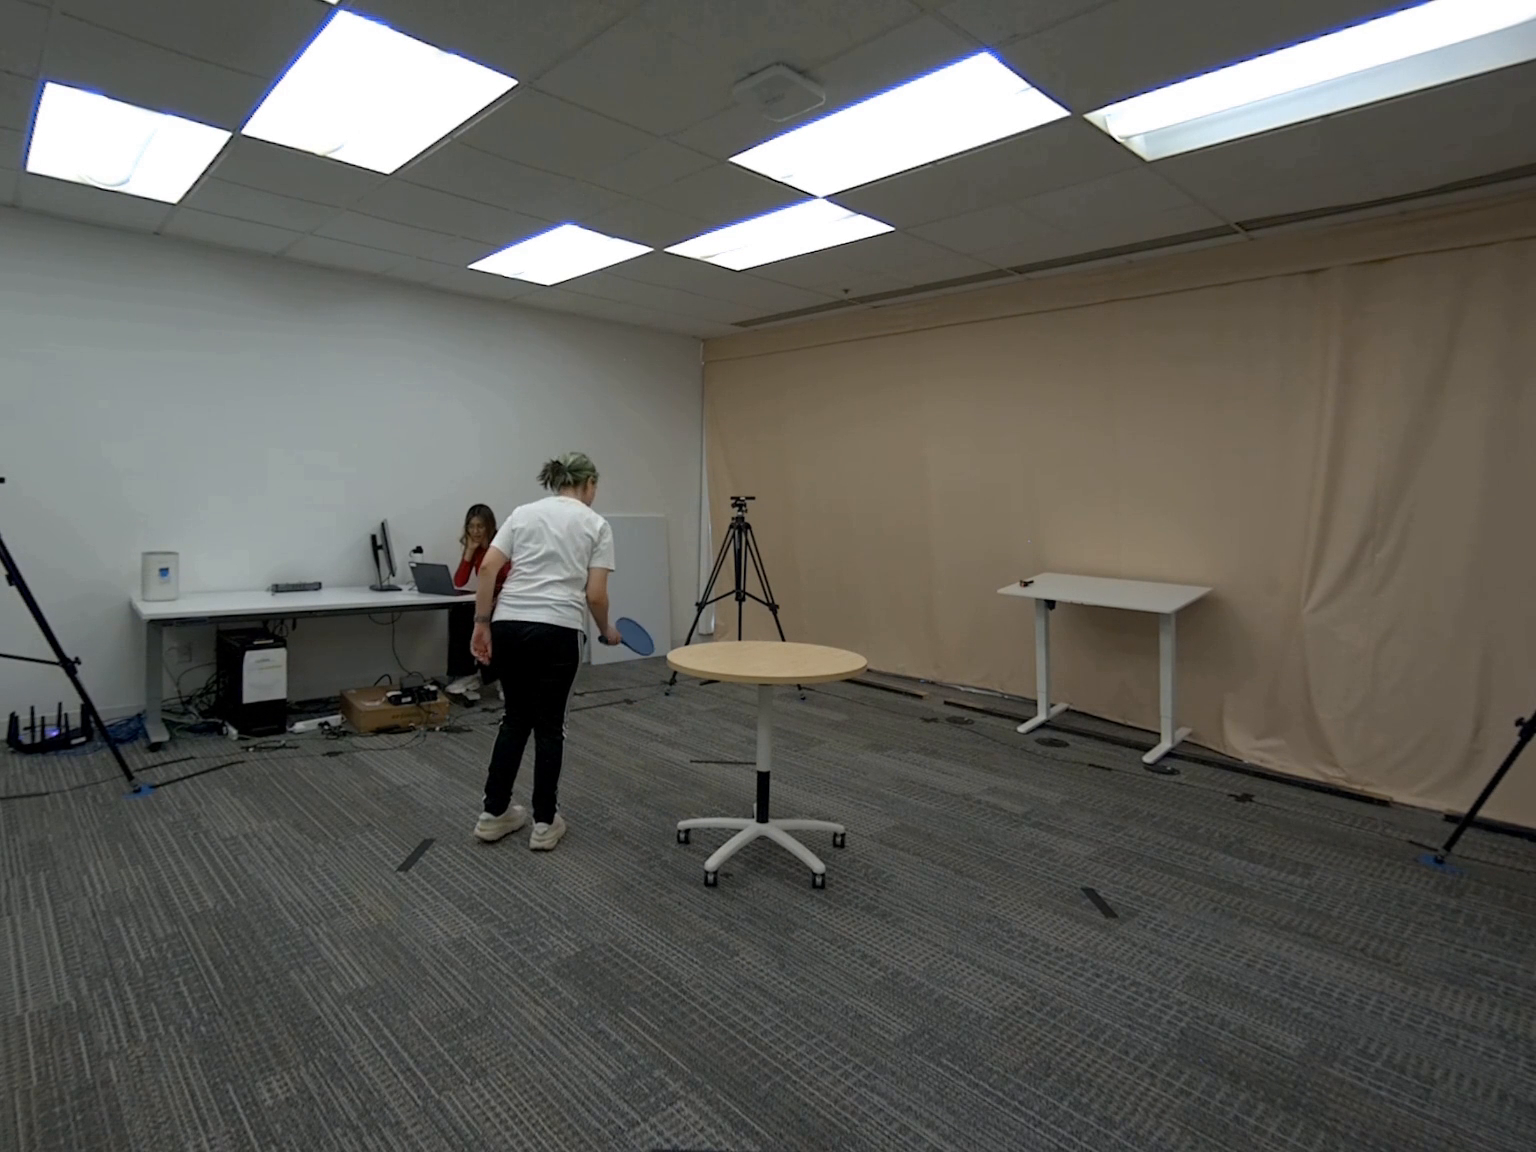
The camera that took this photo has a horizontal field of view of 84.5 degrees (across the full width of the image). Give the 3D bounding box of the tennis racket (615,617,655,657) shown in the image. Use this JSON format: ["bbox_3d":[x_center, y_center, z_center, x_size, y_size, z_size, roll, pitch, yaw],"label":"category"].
[{"bbox_3d":[-0.638,0.269,3.727,0.032,0.217,0.426,-43,-12,13],"label":"tennis racket"}]
